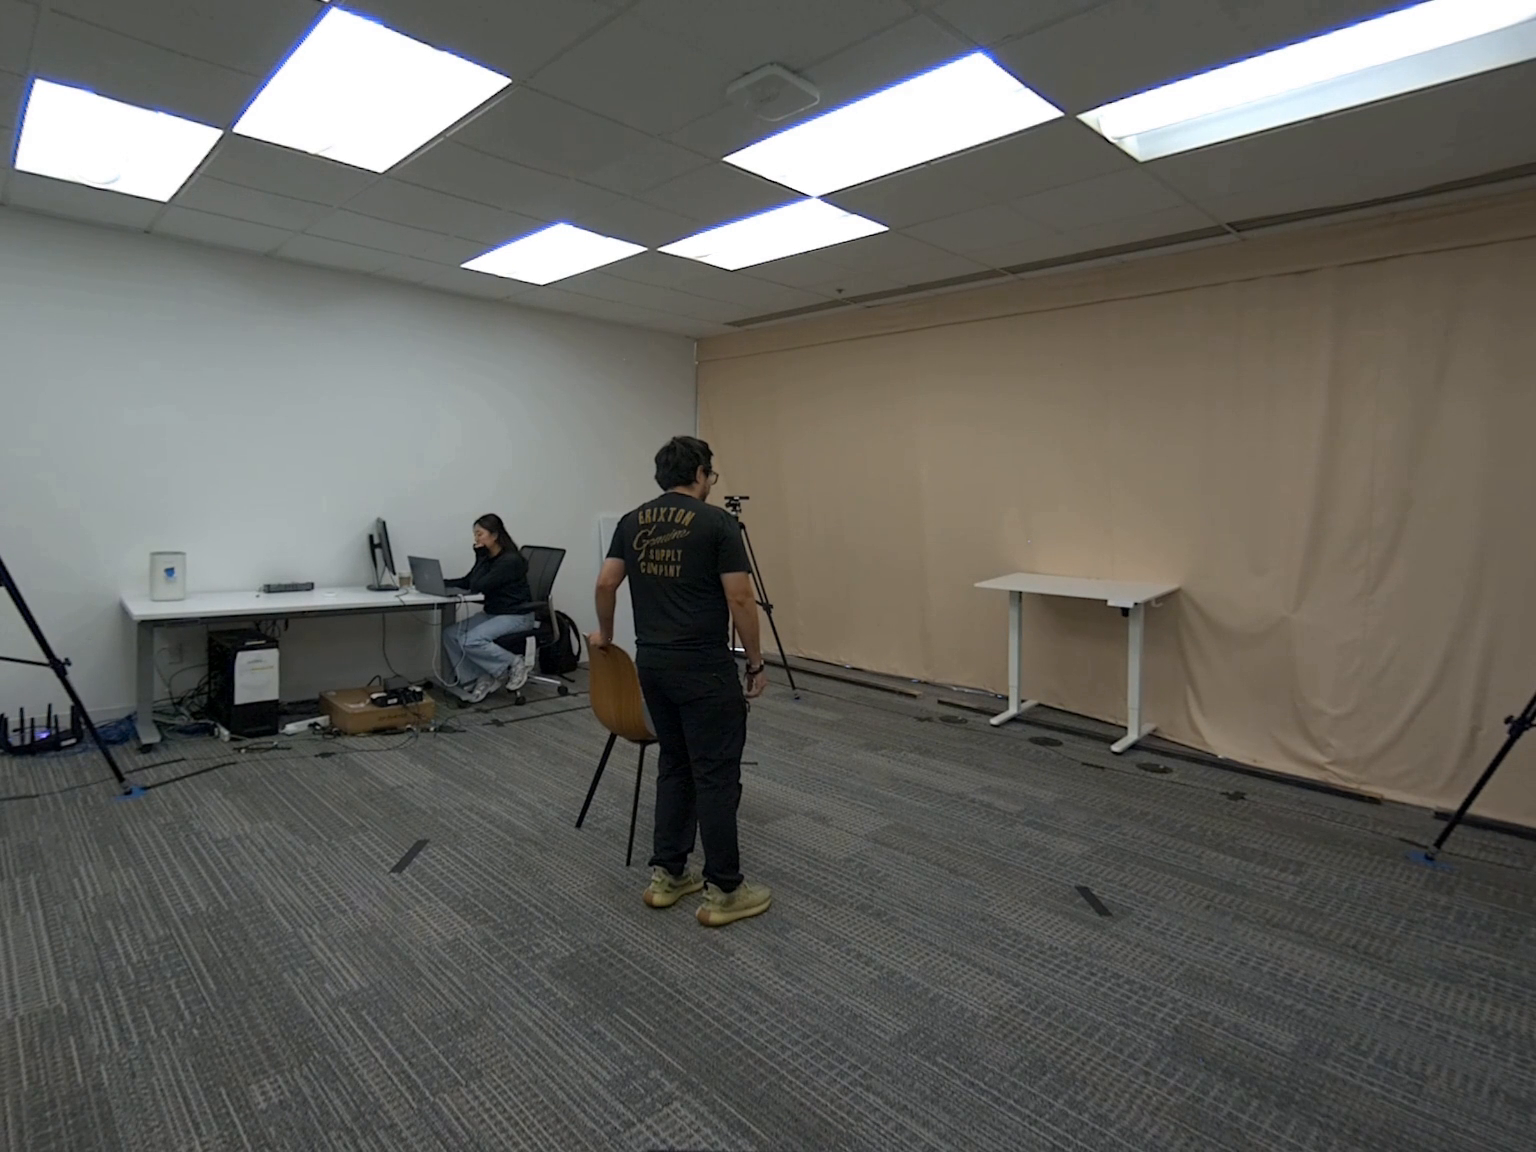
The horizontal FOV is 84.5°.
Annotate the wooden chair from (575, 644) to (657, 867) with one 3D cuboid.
[{"bbox_3d":[-0.480,0.640,3.449,0.512,0.873,0.490,-6,8,-37],"label":"wooden chair"}]
